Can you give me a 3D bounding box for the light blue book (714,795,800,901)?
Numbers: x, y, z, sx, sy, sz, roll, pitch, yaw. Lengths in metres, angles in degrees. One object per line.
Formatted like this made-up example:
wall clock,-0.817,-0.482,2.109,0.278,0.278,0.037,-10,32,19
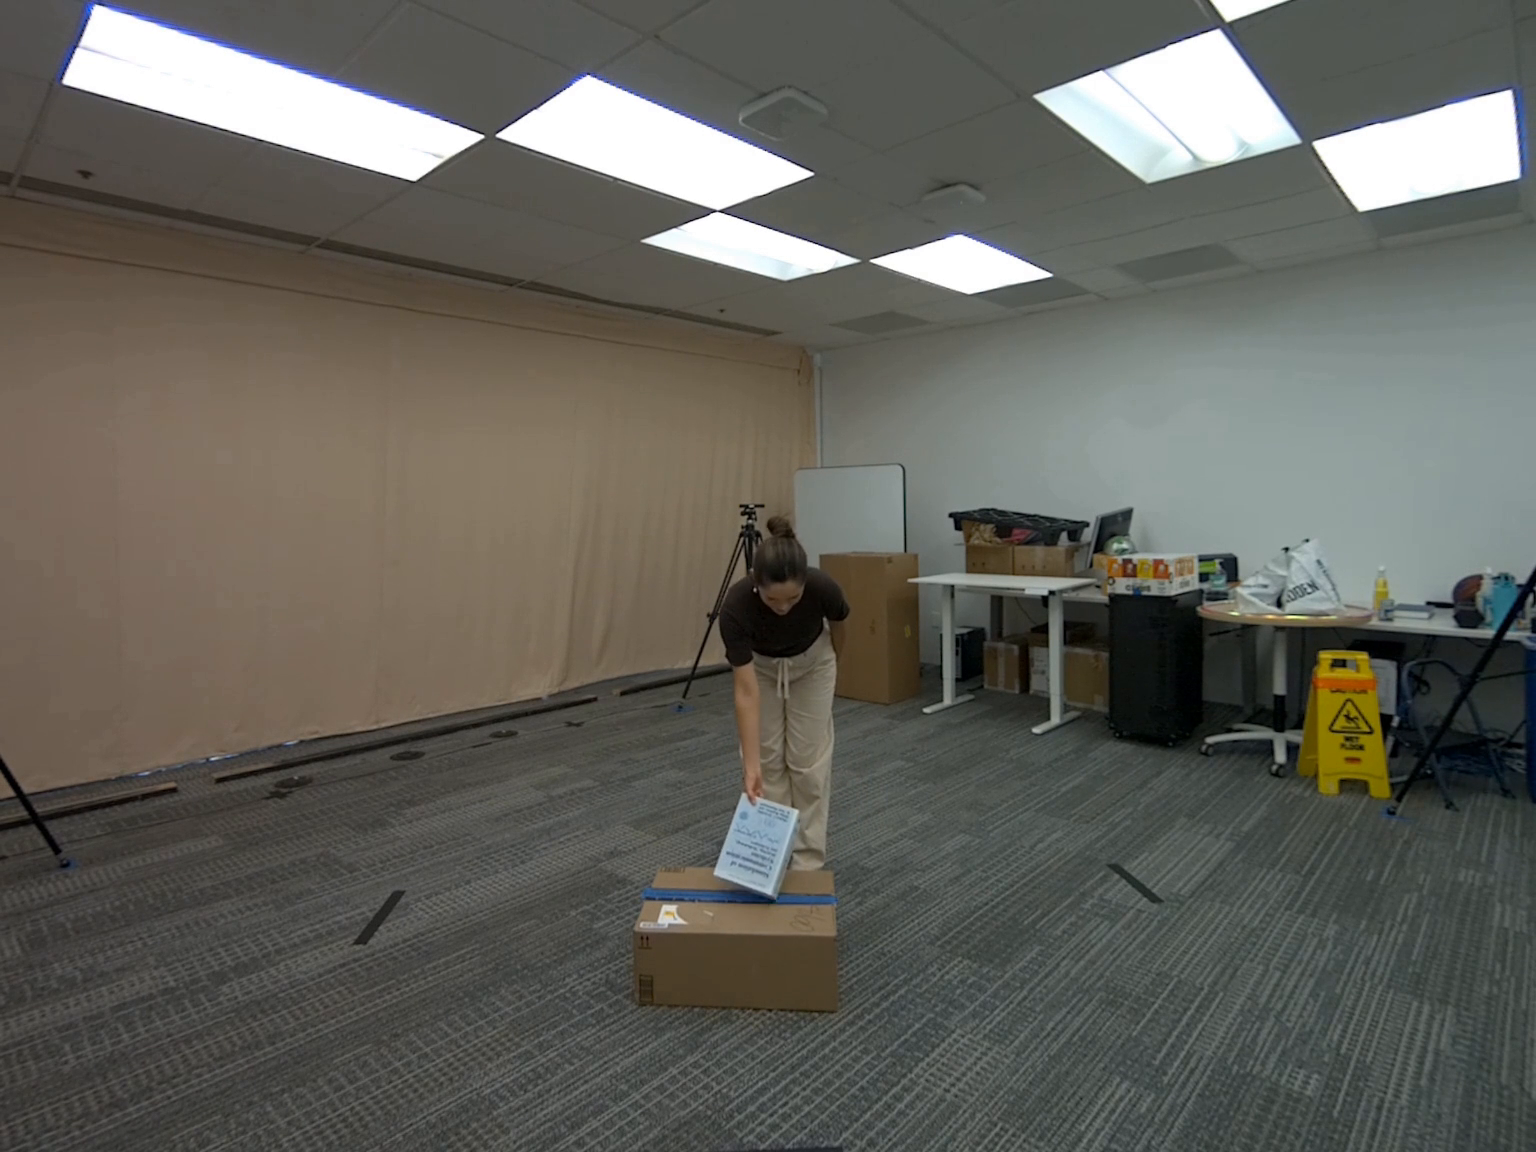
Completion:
light blue book,-0.026,0.814,2.581,0.196,0.262,0.057,10,-31,20
